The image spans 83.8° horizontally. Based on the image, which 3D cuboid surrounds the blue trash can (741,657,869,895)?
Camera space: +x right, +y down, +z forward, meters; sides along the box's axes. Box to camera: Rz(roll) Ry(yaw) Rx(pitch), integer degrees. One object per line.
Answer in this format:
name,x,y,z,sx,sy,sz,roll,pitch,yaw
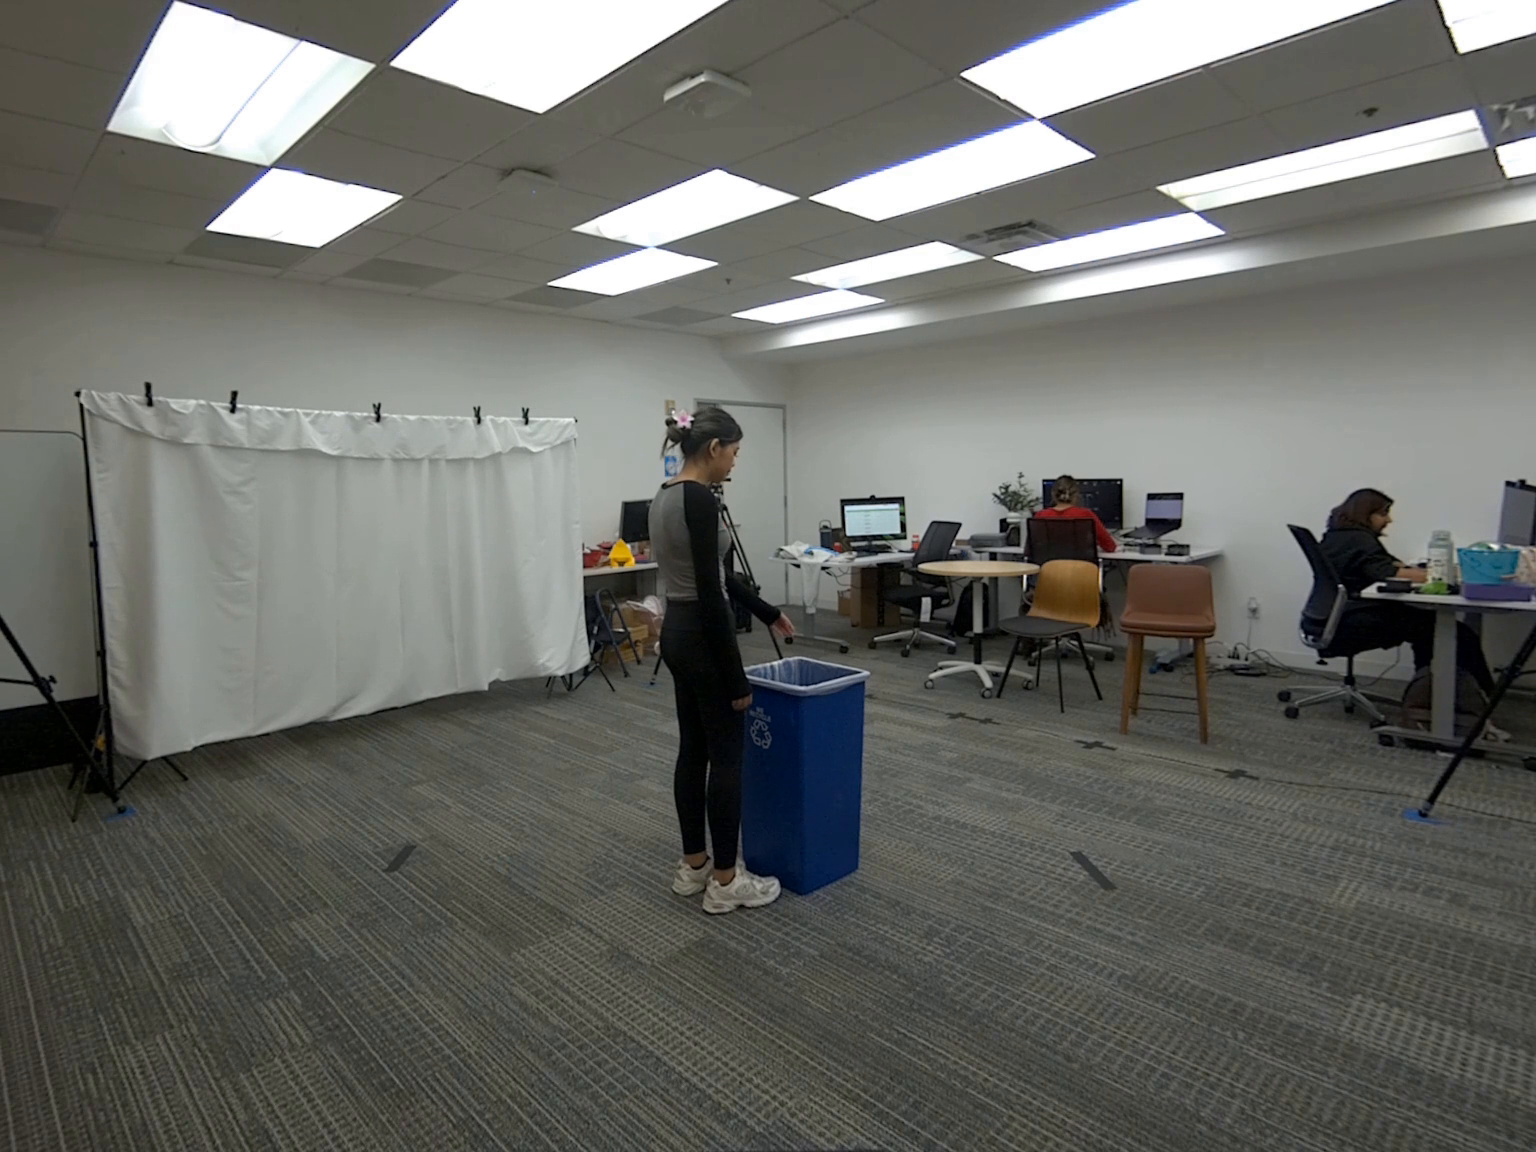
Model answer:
blue trash can,0.123,0.690,3.032,0.368,0.711,0.385,-5,6,-43
